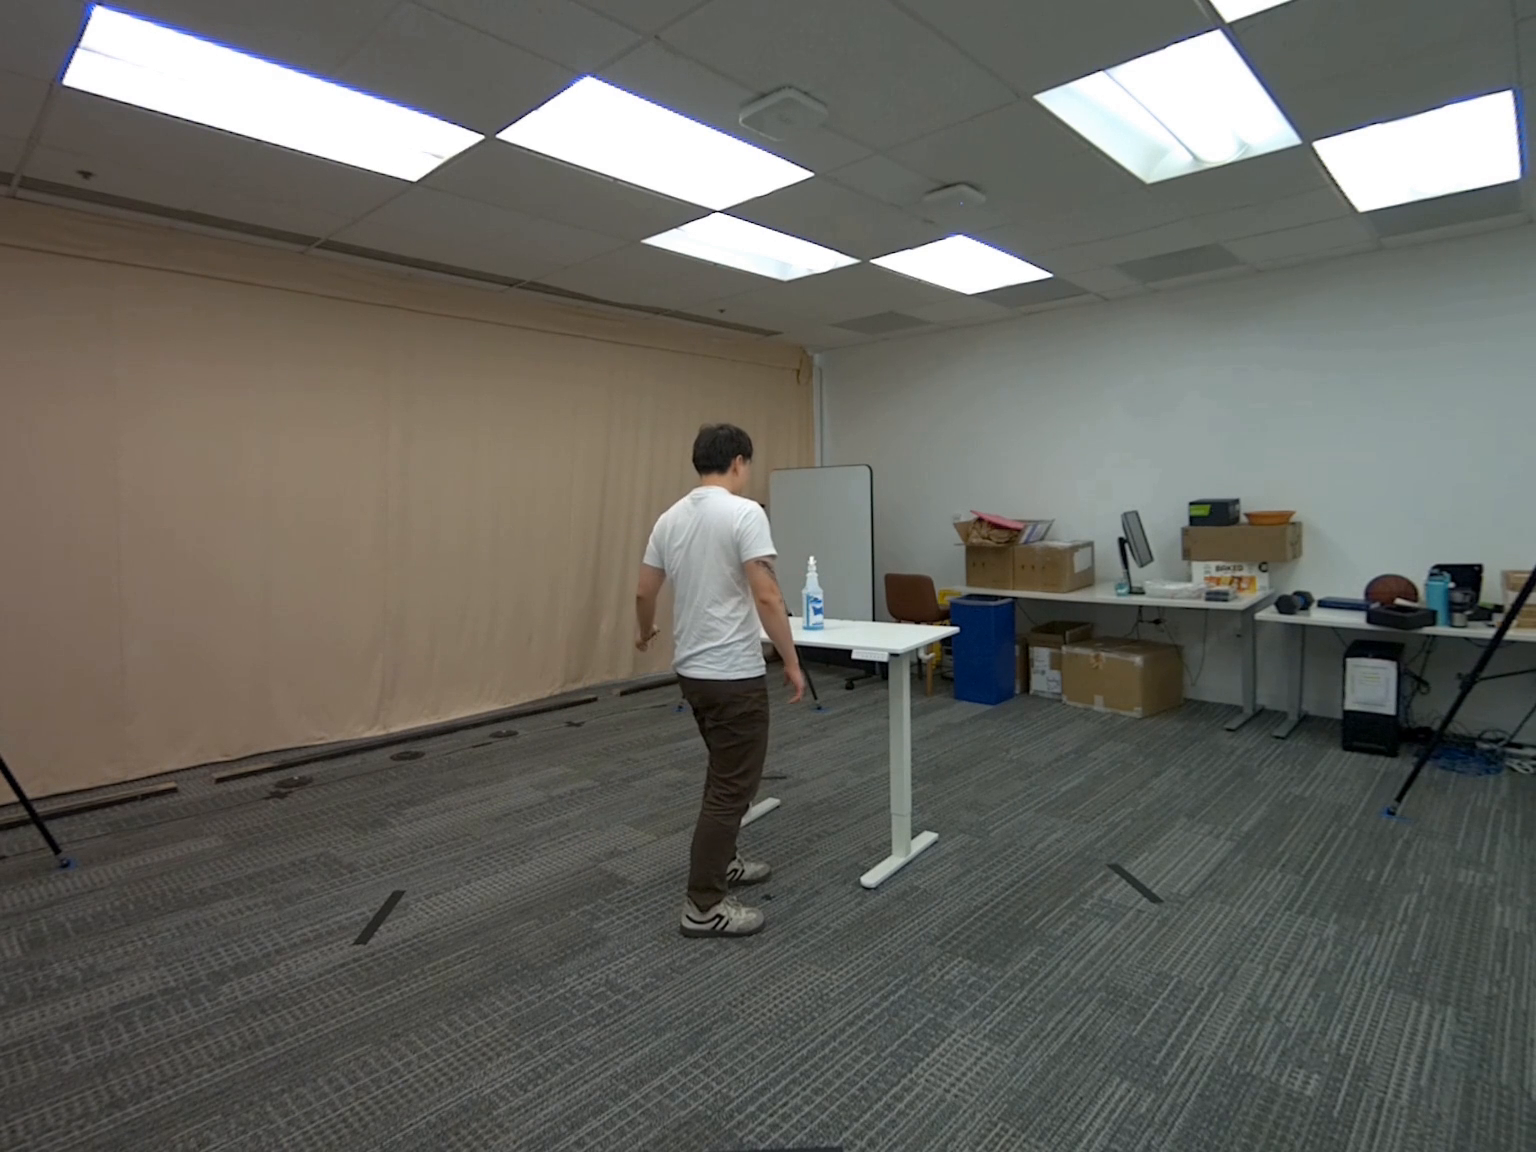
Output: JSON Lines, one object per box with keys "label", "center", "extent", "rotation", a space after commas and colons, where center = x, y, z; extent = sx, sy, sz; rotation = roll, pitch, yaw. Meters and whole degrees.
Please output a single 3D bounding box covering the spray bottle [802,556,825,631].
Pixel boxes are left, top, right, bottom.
{"label": "spray bottle", "center": [0.186, 0.071, 3.434], "extent": [0.089, 0.297, 0.087], "rotation": [-1, 2, 30]}
